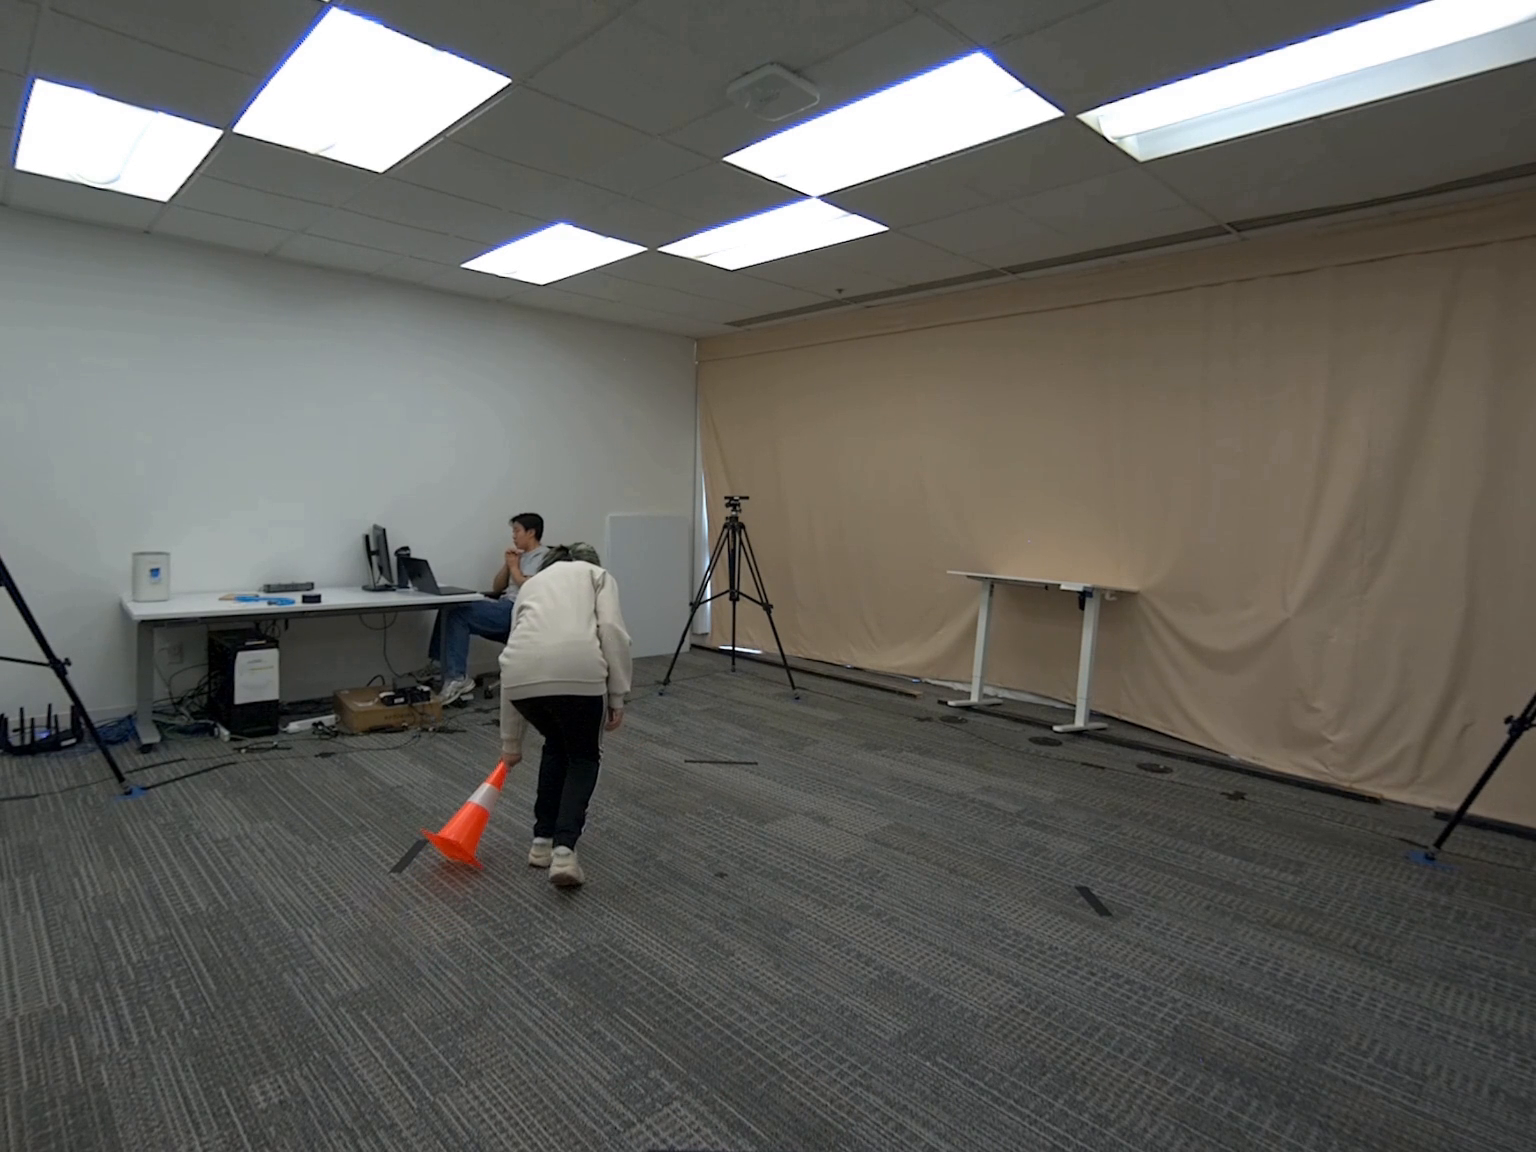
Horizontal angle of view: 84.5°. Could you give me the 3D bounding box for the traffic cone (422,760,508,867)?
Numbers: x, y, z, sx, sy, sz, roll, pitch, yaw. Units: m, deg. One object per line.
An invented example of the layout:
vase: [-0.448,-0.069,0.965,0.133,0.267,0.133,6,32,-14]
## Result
traffic cone: [-1.093,0.861,3.187,0.209,0.197,0.387,-6,42,33]
